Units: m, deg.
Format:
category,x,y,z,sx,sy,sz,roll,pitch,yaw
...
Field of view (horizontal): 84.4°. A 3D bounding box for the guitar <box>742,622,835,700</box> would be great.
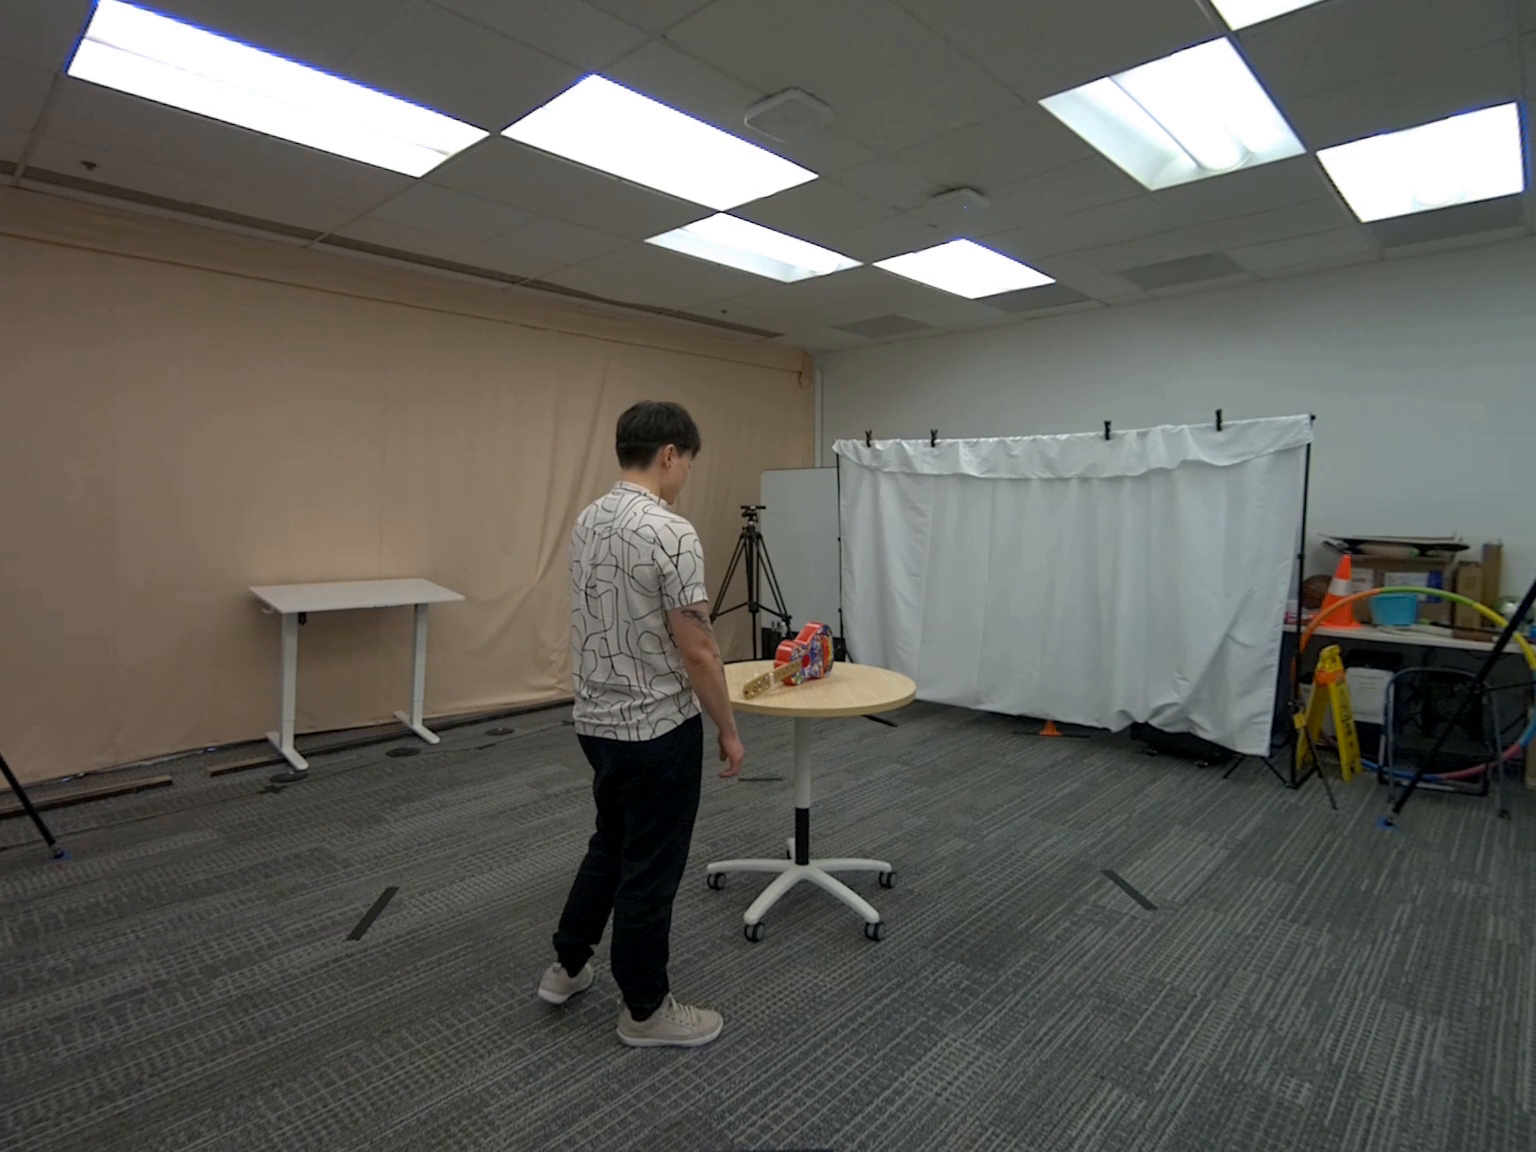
category,x,y,z,sx,sy,sz,roll,pitch,yaw
guitar,0.071,0.279,2.825,0.073,0.192,0.483,5,8,39
